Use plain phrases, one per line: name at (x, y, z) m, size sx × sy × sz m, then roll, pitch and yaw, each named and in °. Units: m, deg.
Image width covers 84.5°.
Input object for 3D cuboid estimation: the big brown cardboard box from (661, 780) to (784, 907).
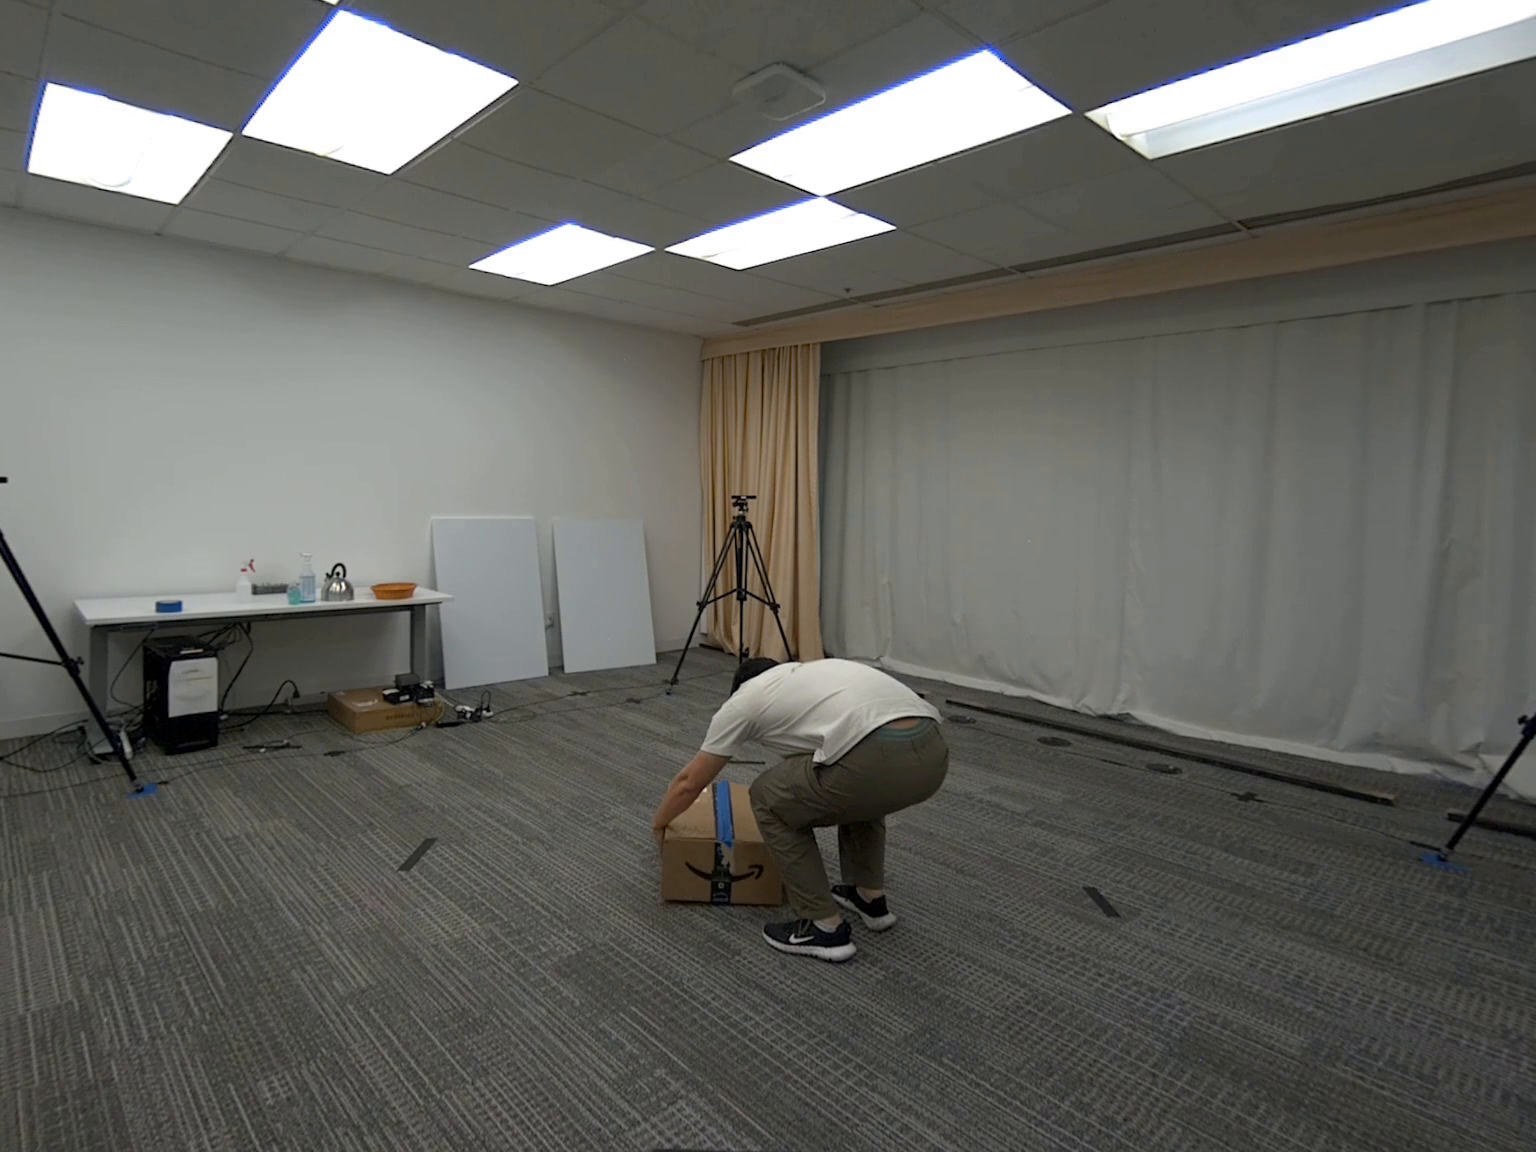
big brown cardboard box at (-0.180, 0.961, 3.137) m, size 0.416 × 0.232 × 0.593 m, roll 3°, pitch 6°, yaw -5°
